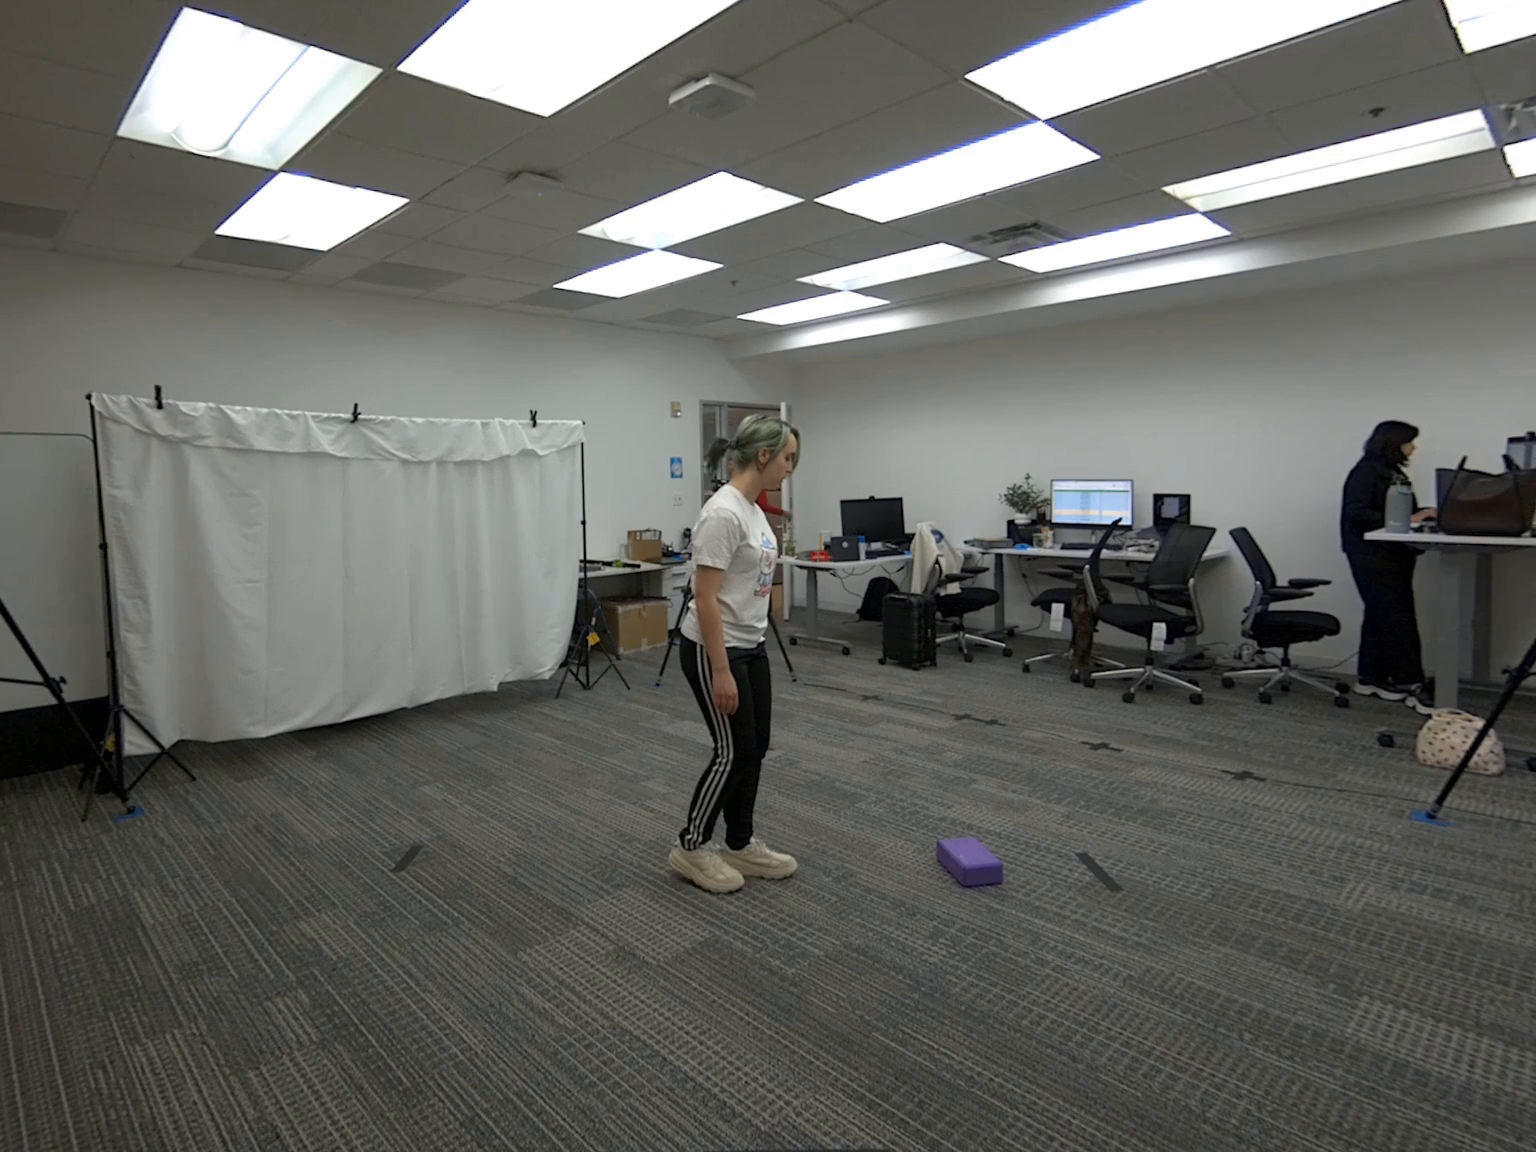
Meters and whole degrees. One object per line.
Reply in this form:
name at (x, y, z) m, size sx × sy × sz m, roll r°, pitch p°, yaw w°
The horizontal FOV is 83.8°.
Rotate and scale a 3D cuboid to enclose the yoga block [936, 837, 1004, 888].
yoga block at (0.709, 1.001, 3.012) m, size 0.147 × 0.076 × 0.232 m, roll -2°, pitch 5°, yaw -11°
